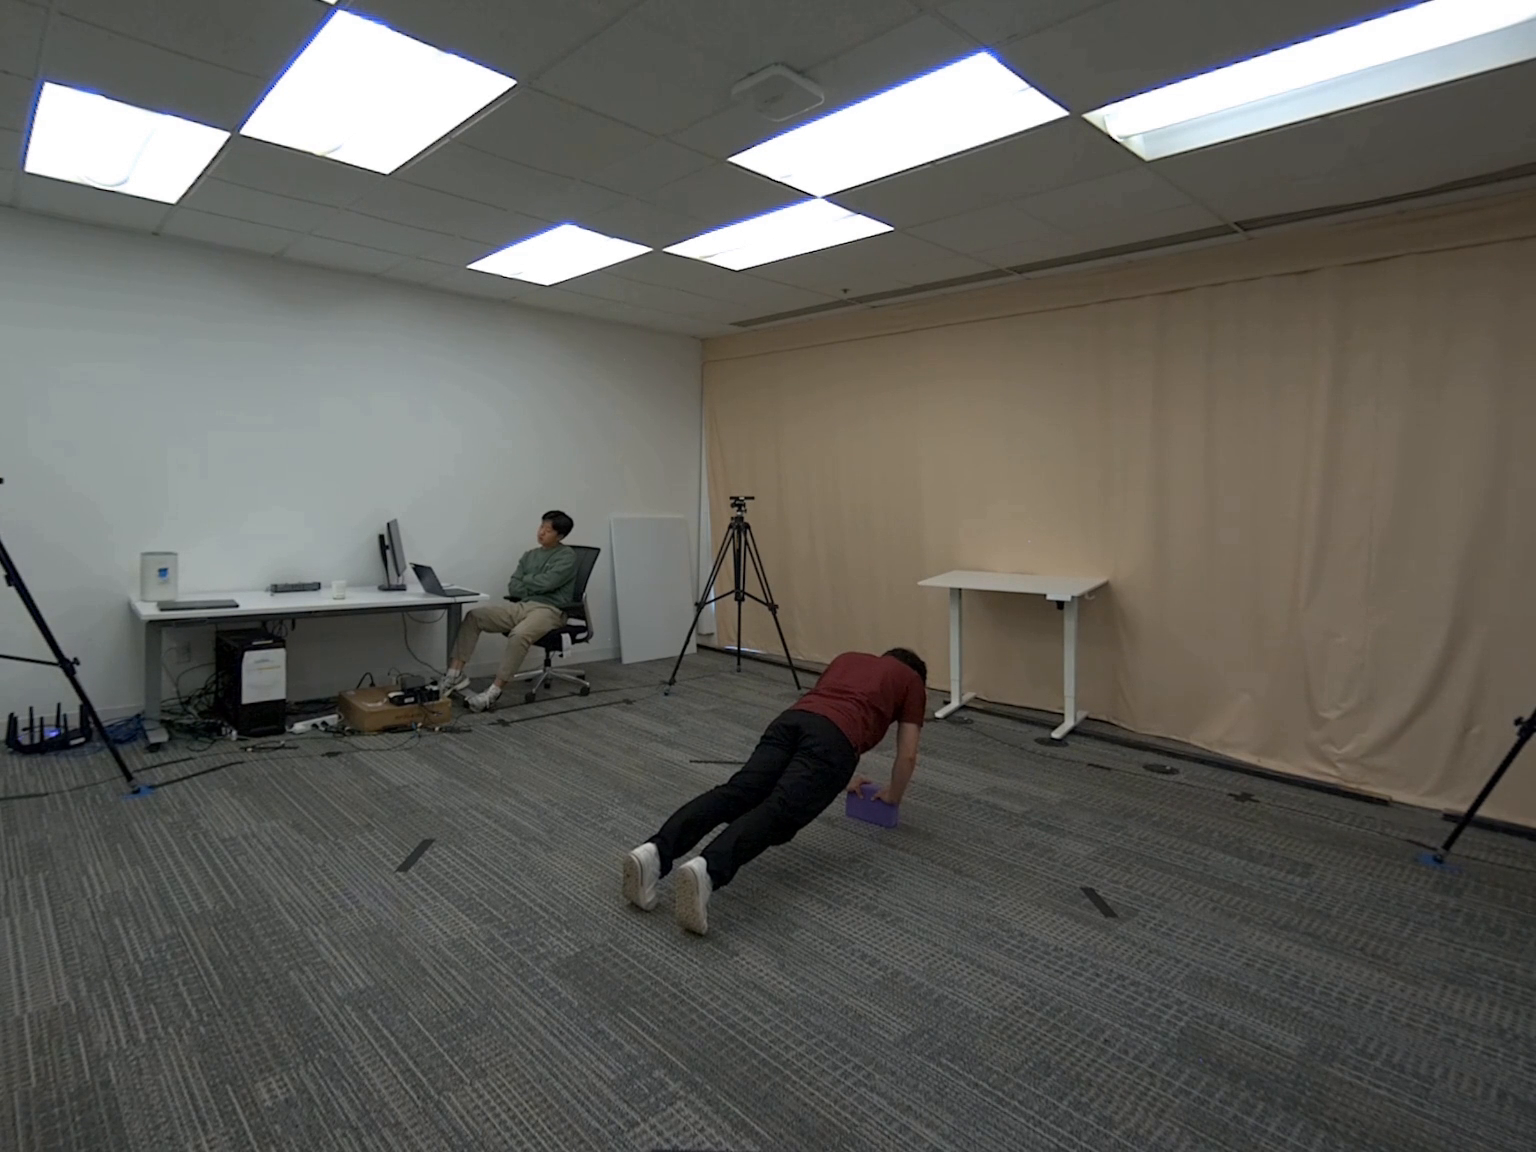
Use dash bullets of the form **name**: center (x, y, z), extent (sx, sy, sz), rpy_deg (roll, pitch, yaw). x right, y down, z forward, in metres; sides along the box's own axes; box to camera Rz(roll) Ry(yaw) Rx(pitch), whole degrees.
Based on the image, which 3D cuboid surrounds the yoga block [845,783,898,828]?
- **yoga block**: center (0.445, 0.999, 3.694), extent (0.235, 0.149, 0.074), rpy_deg (4, 0, 39)
